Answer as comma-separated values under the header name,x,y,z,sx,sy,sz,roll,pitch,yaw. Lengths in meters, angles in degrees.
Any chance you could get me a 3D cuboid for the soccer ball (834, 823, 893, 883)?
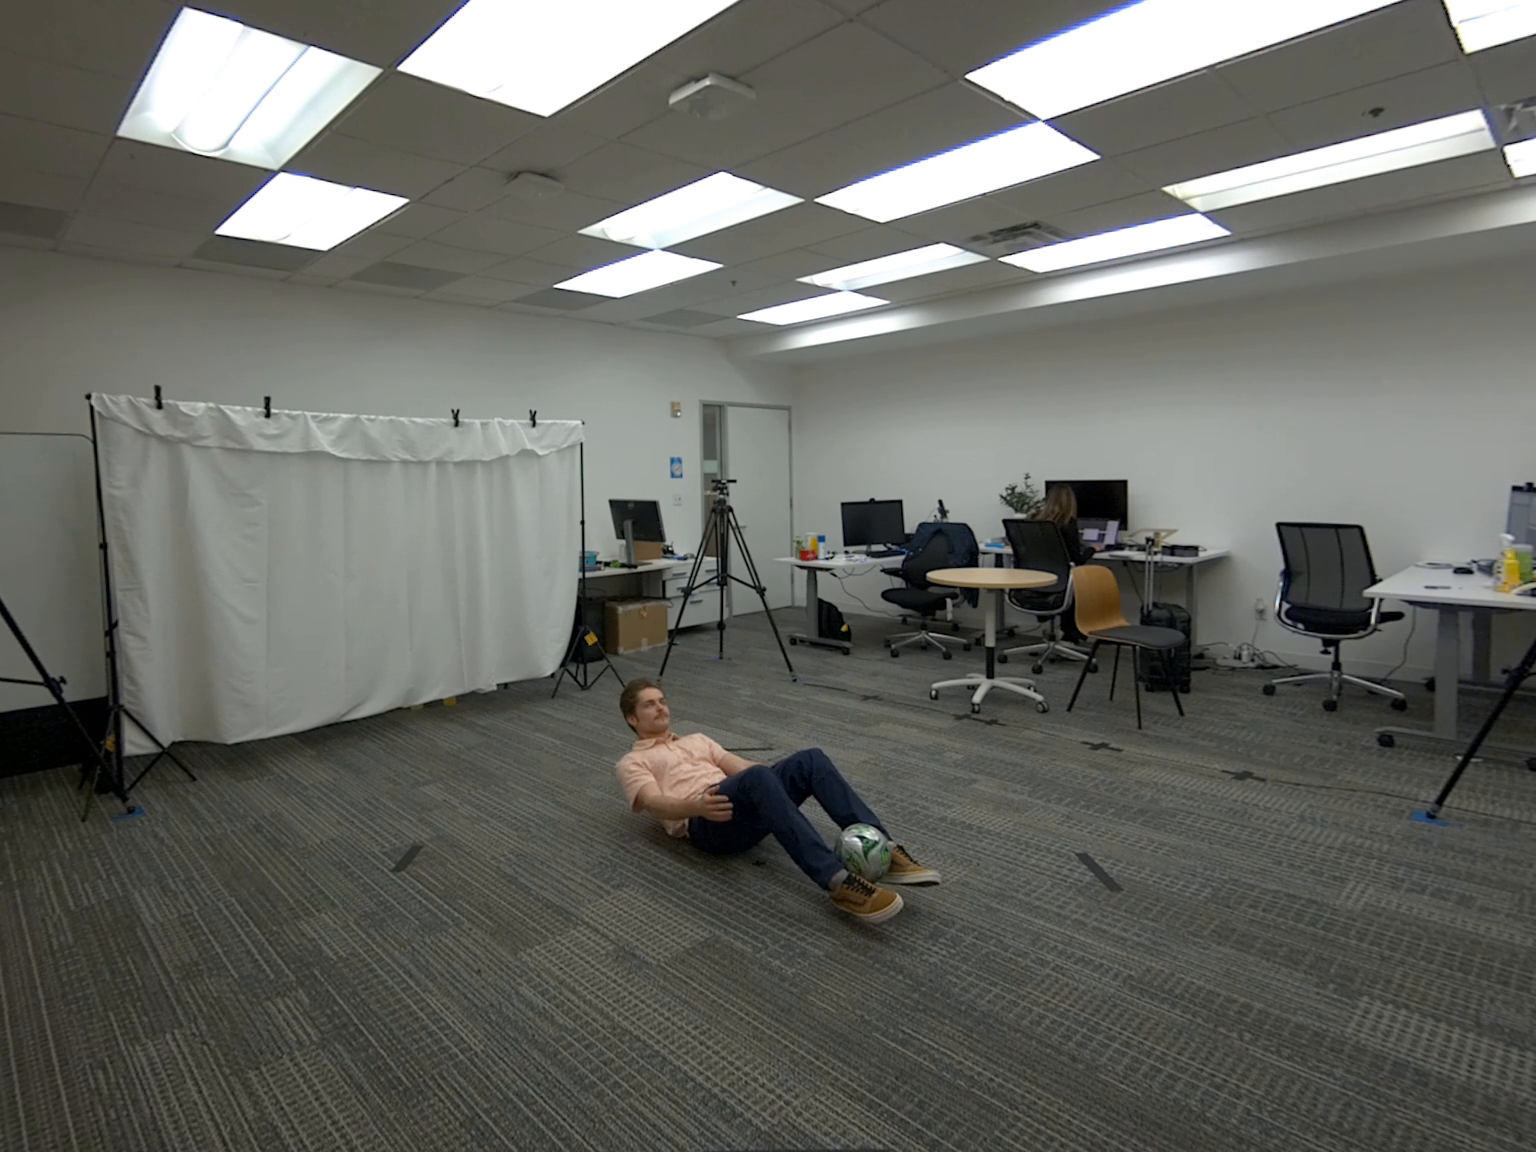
name,x,y,z,sx,sy,sz,roll,pitch,yaw
soccer ball,0.293,0.904,2.771,0.187,0.187,0.188,-1,5,-2
